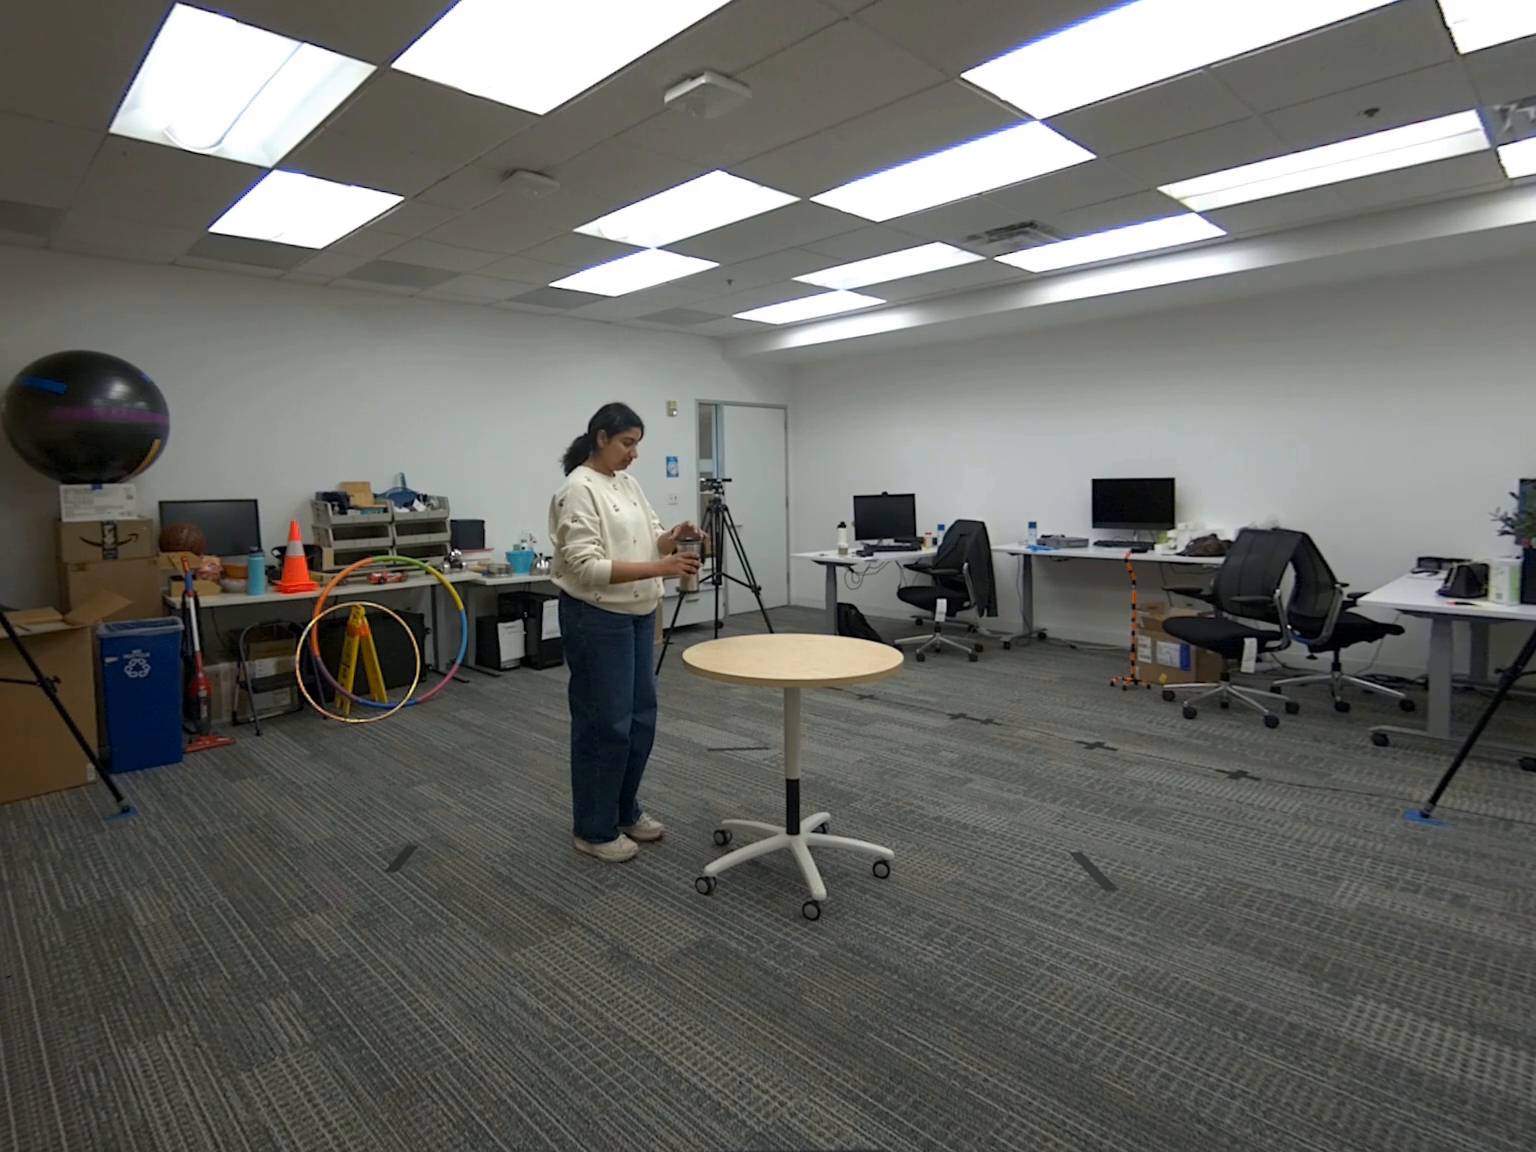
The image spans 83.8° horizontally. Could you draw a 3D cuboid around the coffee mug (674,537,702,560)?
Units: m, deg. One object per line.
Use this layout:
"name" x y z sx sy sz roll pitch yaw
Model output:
"coffee mug" -0.269 -0.041 3.115 0.119 0.203 0.089 -4 -1 -23
